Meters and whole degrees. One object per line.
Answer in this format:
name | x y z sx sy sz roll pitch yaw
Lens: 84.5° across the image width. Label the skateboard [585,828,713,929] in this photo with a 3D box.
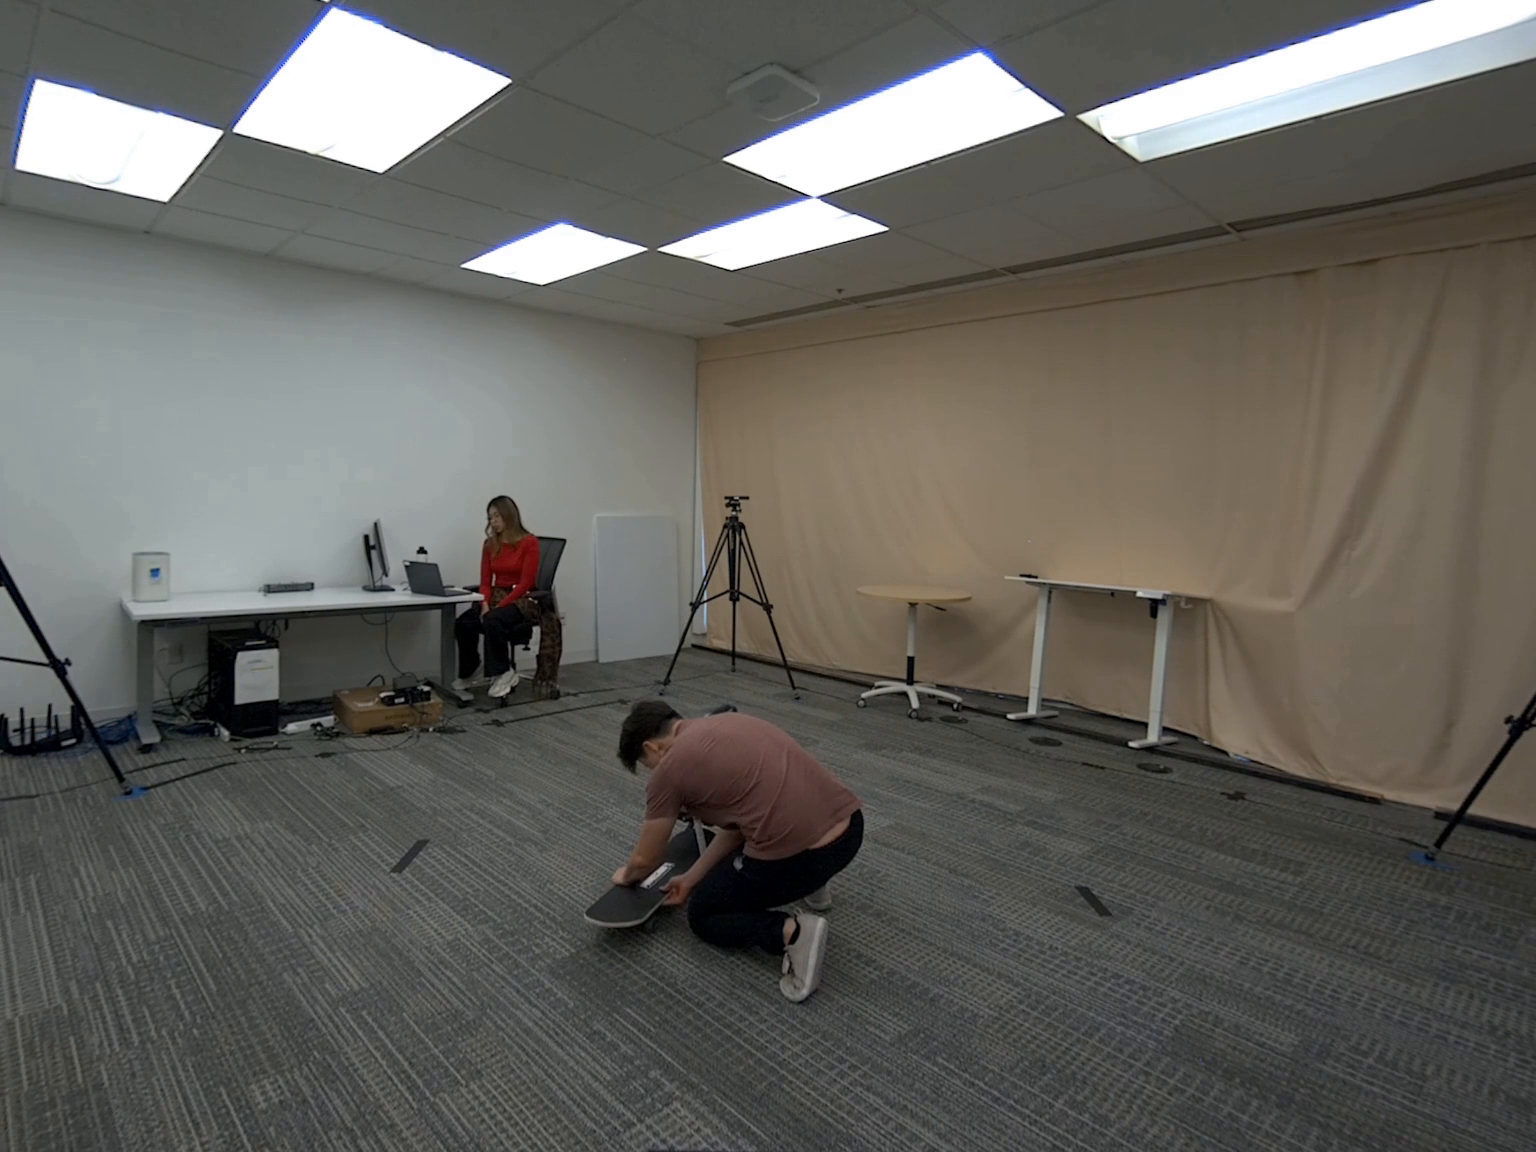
skateboard | -0.382 1.051 2.898 0.196 0.110 0.775 2 5 19
